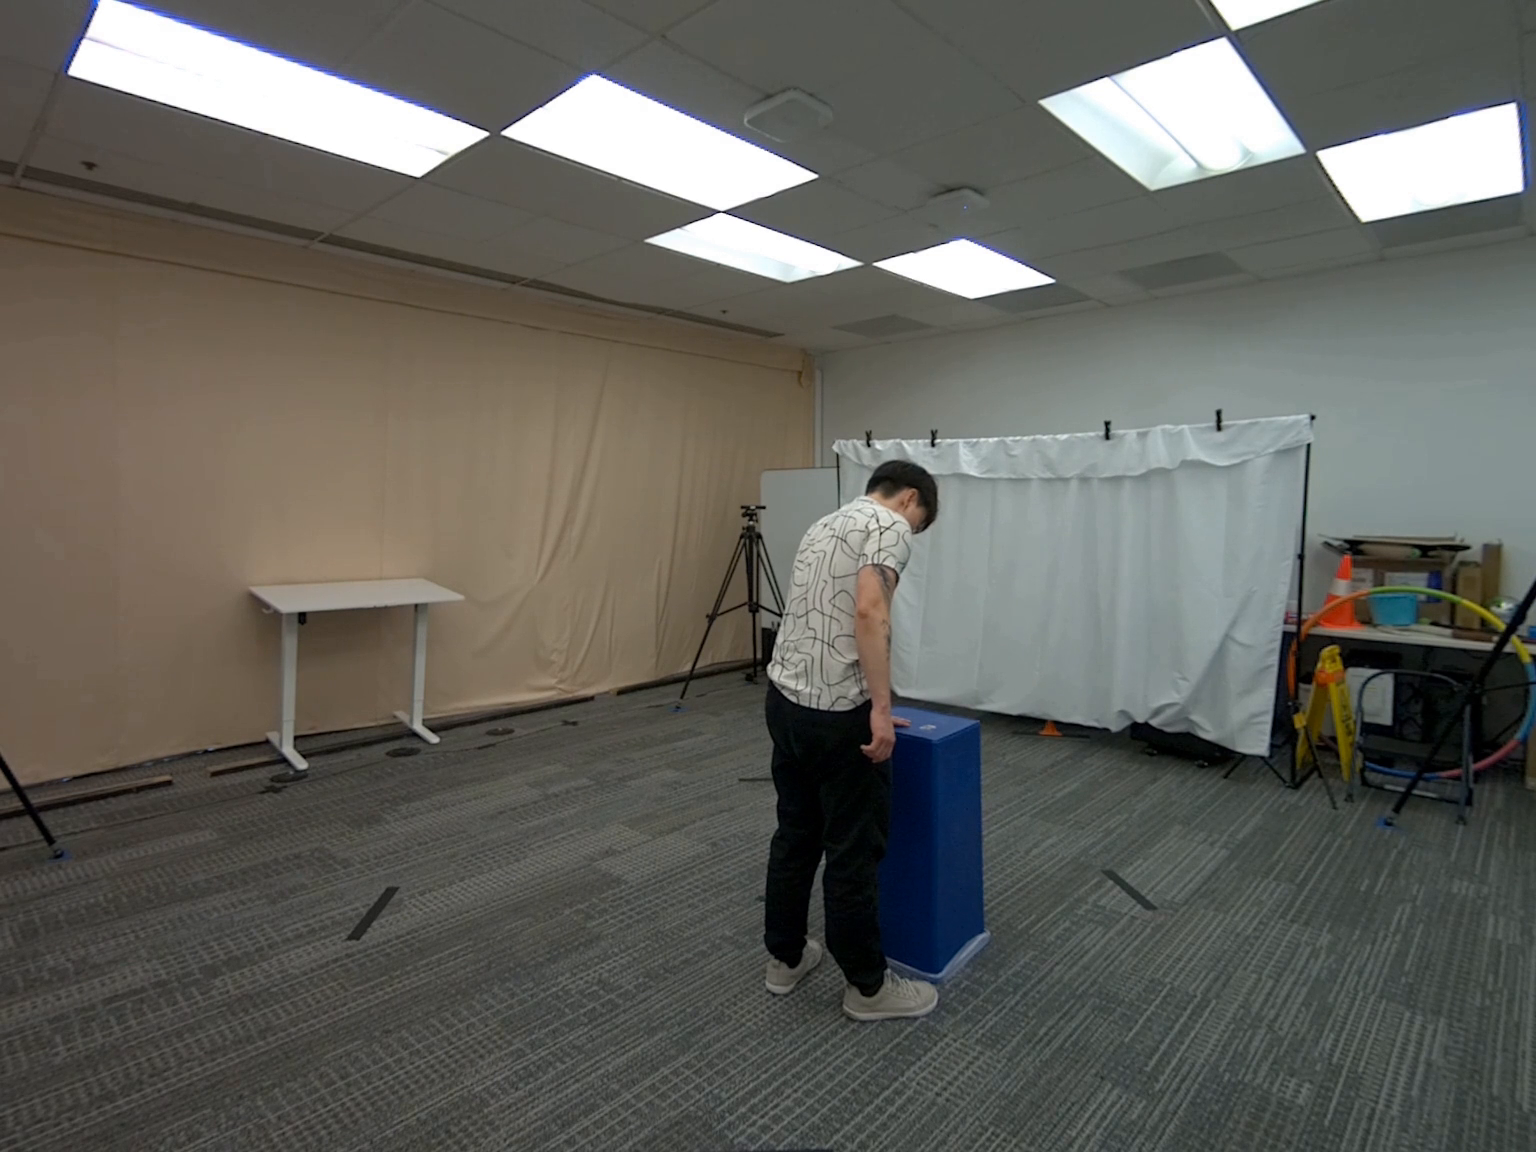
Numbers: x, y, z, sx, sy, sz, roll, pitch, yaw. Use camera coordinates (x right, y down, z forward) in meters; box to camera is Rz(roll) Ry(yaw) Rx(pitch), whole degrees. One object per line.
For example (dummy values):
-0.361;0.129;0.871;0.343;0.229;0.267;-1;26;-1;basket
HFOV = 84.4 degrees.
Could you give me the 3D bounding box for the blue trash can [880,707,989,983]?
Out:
0.476;0.815;2.666;0.386;0.711;0.366;4;6;41;blue trash can
